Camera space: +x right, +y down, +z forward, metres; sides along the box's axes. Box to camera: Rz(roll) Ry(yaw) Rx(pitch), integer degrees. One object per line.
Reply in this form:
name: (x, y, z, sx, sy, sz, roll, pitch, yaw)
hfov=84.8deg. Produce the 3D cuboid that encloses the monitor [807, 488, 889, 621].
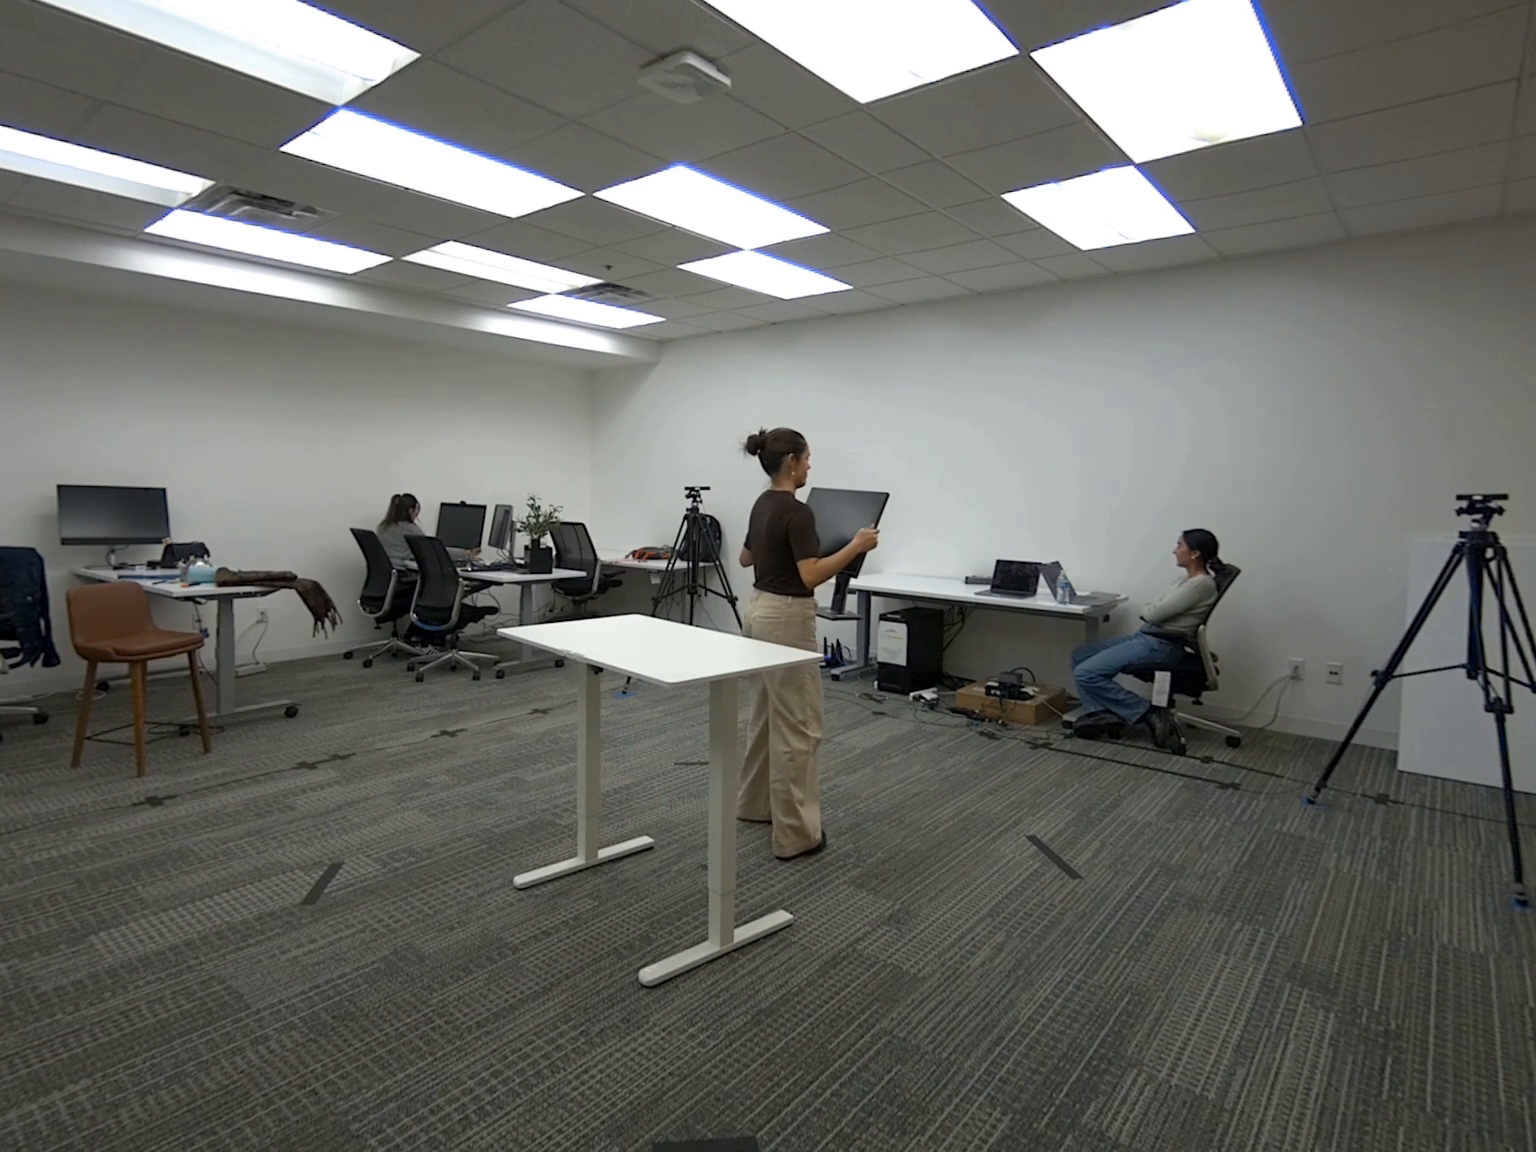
monitor: (0.275, -0.094, 3.472, 0.181, 0.521, 0.557, 6, 4, -31)
